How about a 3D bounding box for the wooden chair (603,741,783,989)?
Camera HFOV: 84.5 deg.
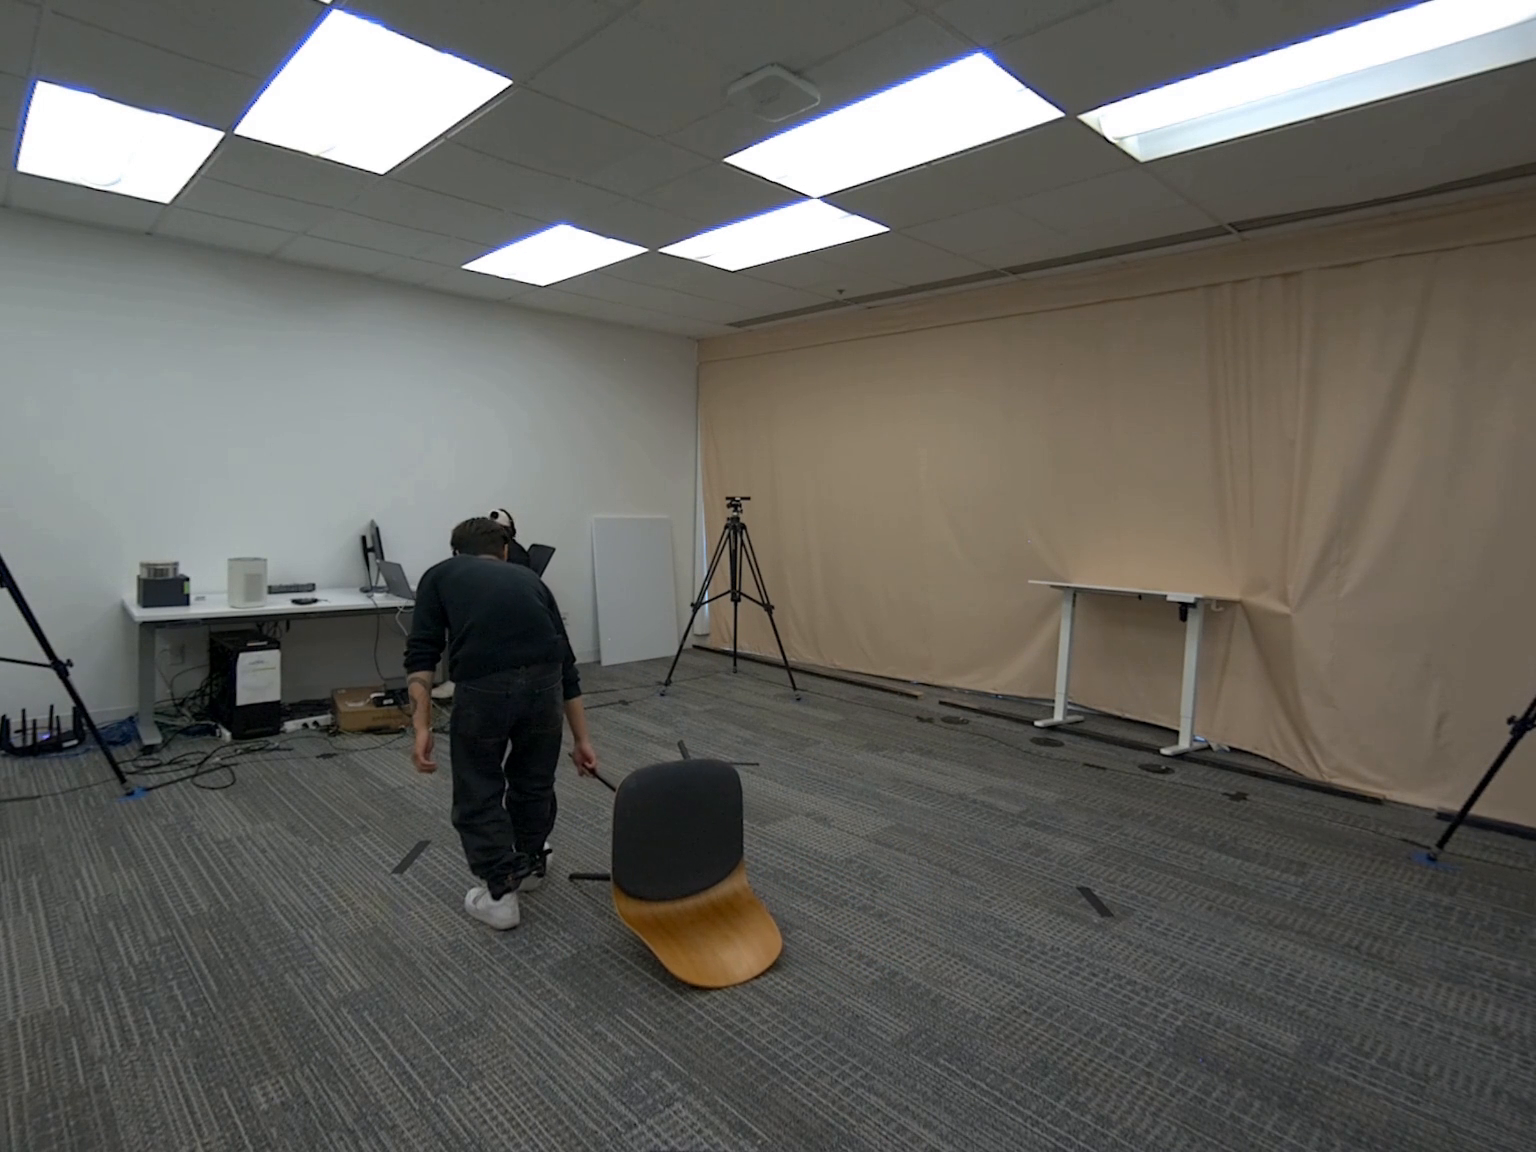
[{"bbox_3d":[-0.314,0.872,2.765,0.468,0.521,0.898,0,6,-29],"label":"wooden chair"}]
